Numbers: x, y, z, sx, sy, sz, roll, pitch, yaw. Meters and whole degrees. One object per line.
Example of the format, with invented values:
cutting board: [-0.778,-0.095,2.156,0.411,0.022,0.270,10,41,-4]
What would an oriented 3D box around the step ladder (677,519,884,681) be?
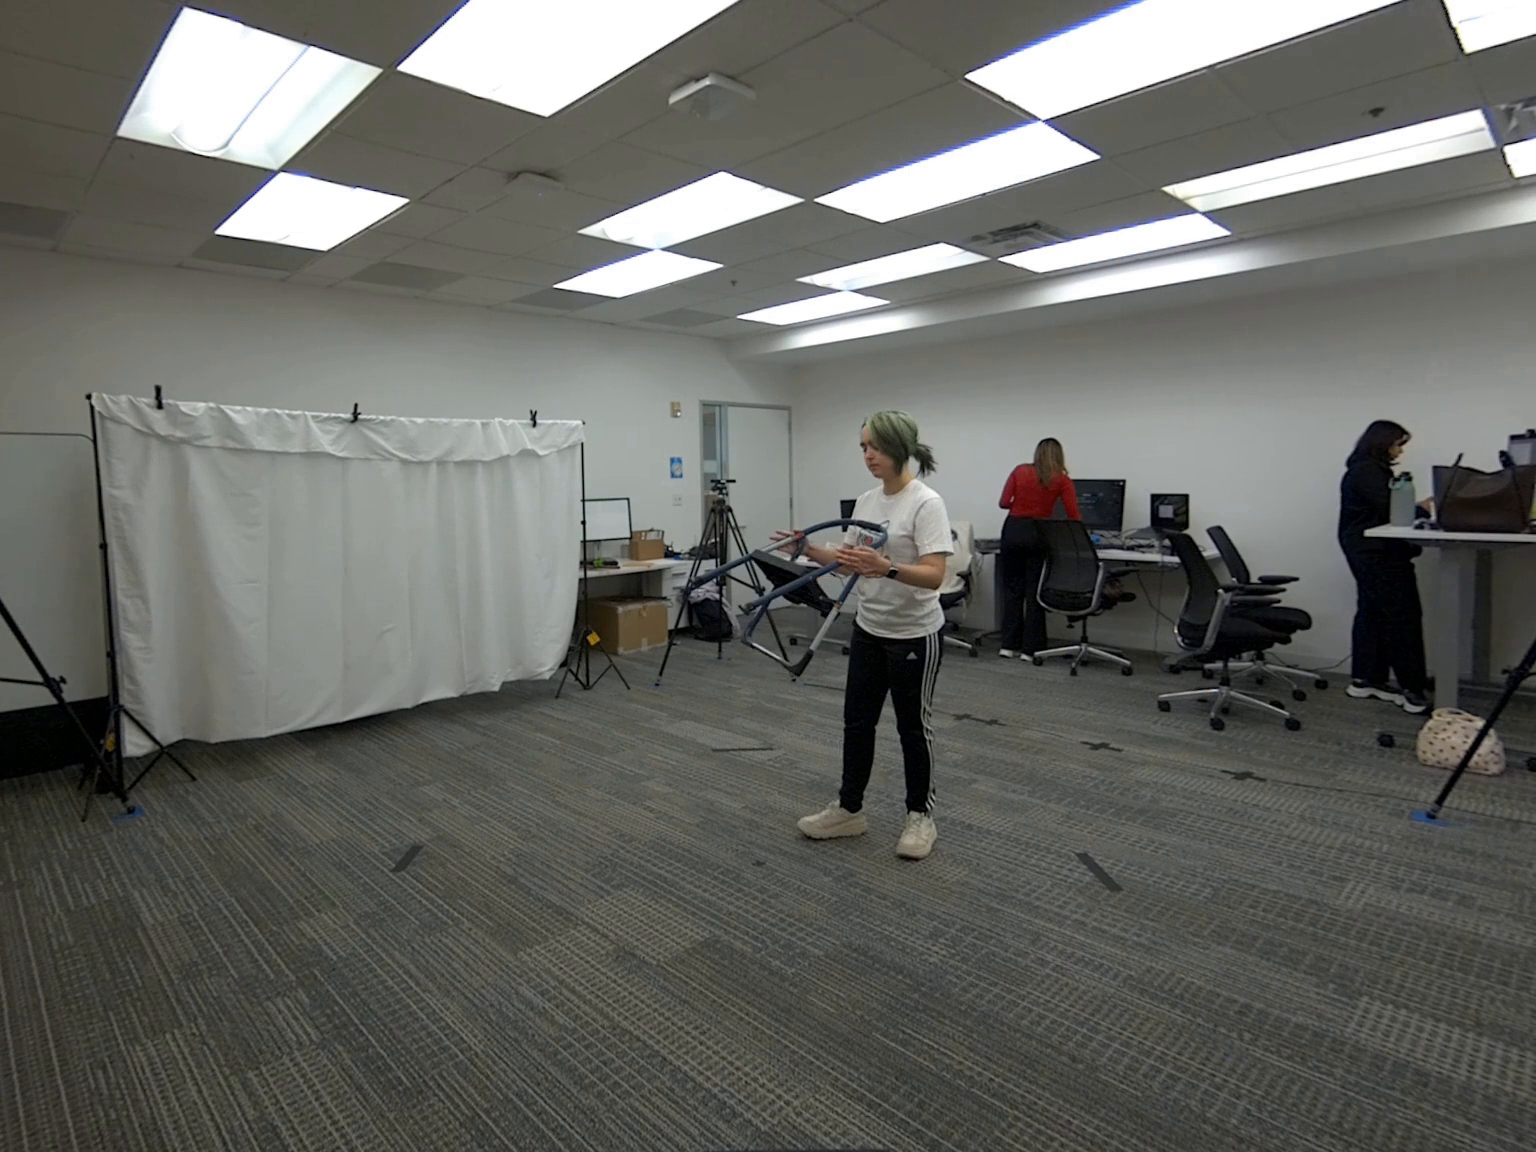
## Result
step ladder: [0.117,-0.031,2.986,0.605,0.339,0.444,-45,28,-13]
